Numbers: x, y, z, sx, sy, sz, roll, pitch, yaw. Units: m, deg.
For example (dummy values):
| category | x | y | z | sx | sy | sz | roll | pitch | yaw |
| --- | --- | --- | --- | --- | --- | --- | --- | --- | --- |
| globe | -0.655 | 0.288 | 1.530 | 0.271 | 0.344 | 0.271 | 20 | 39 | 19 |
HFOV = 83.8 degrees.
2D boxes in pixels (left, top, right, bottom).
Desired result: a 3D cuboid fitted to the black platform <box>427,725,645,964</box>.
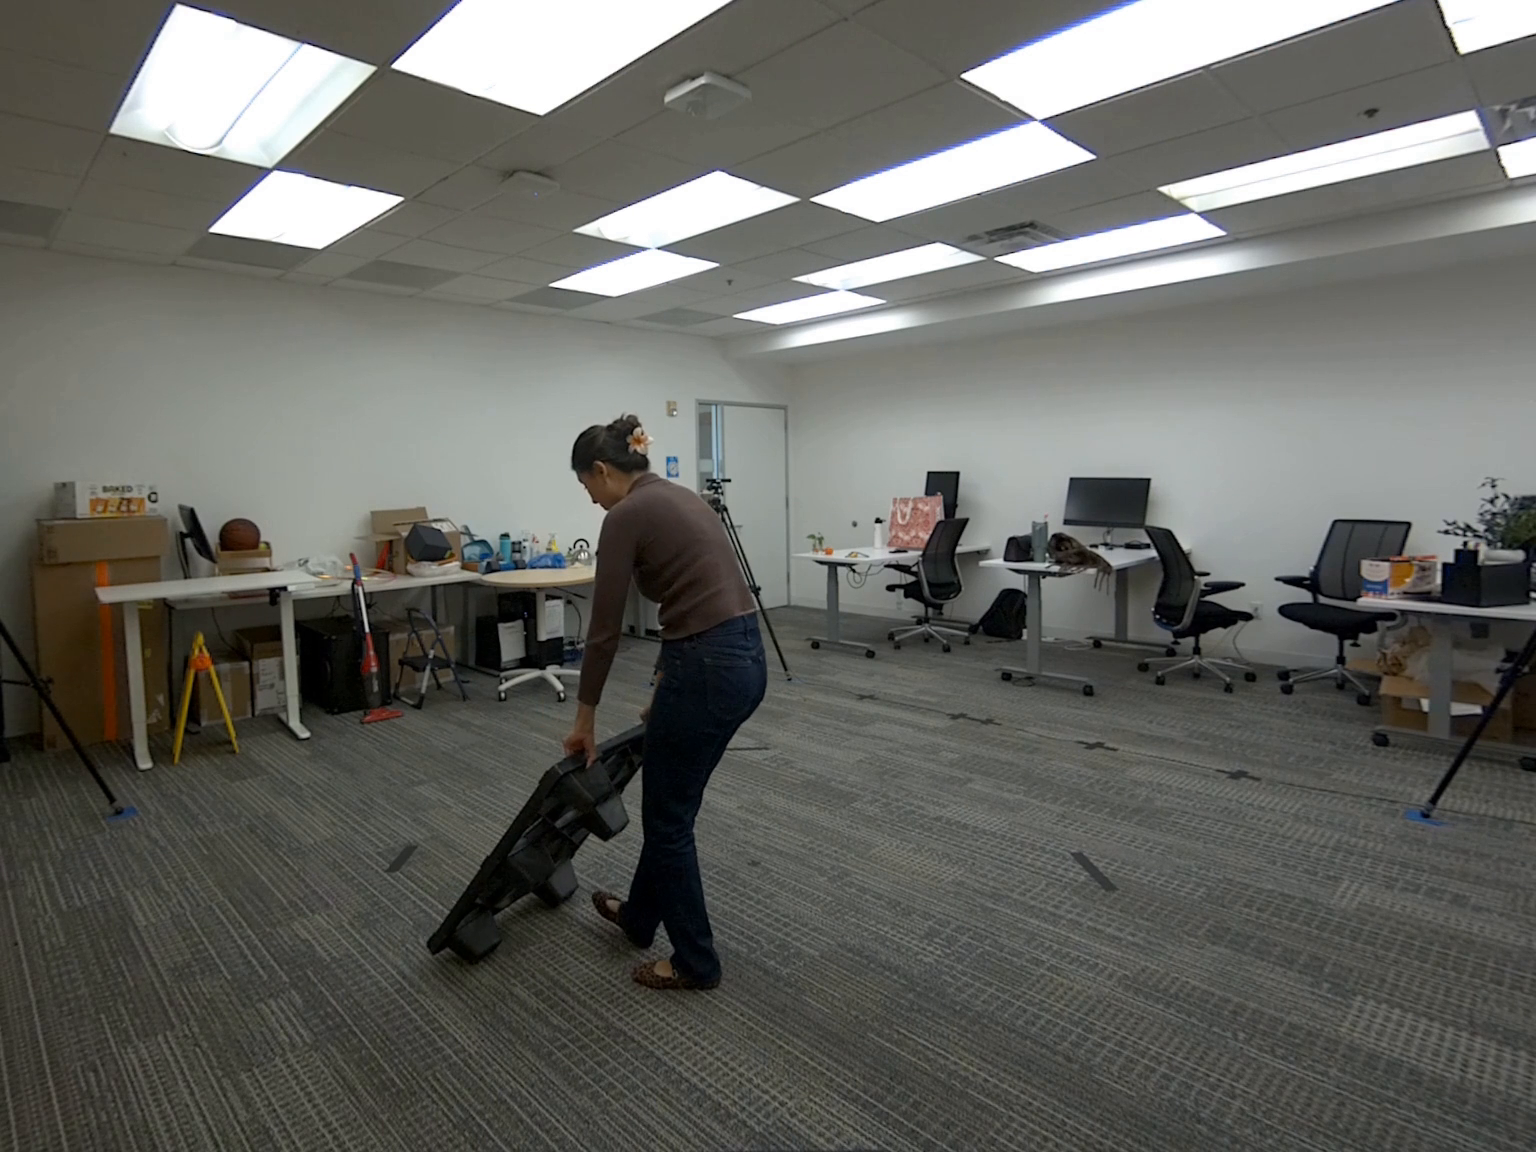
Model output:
| category | x | y | z | sx | sy | sz | roll | pitch | yaw |
| --- | --- | --- | --- | --- | --- | --- | --- | --- | --- |
| black platform | -0.602 | 0.787 | 2.574 | 0.146 | 0.802 | 0.594 | 41 | 21 | 14 |
